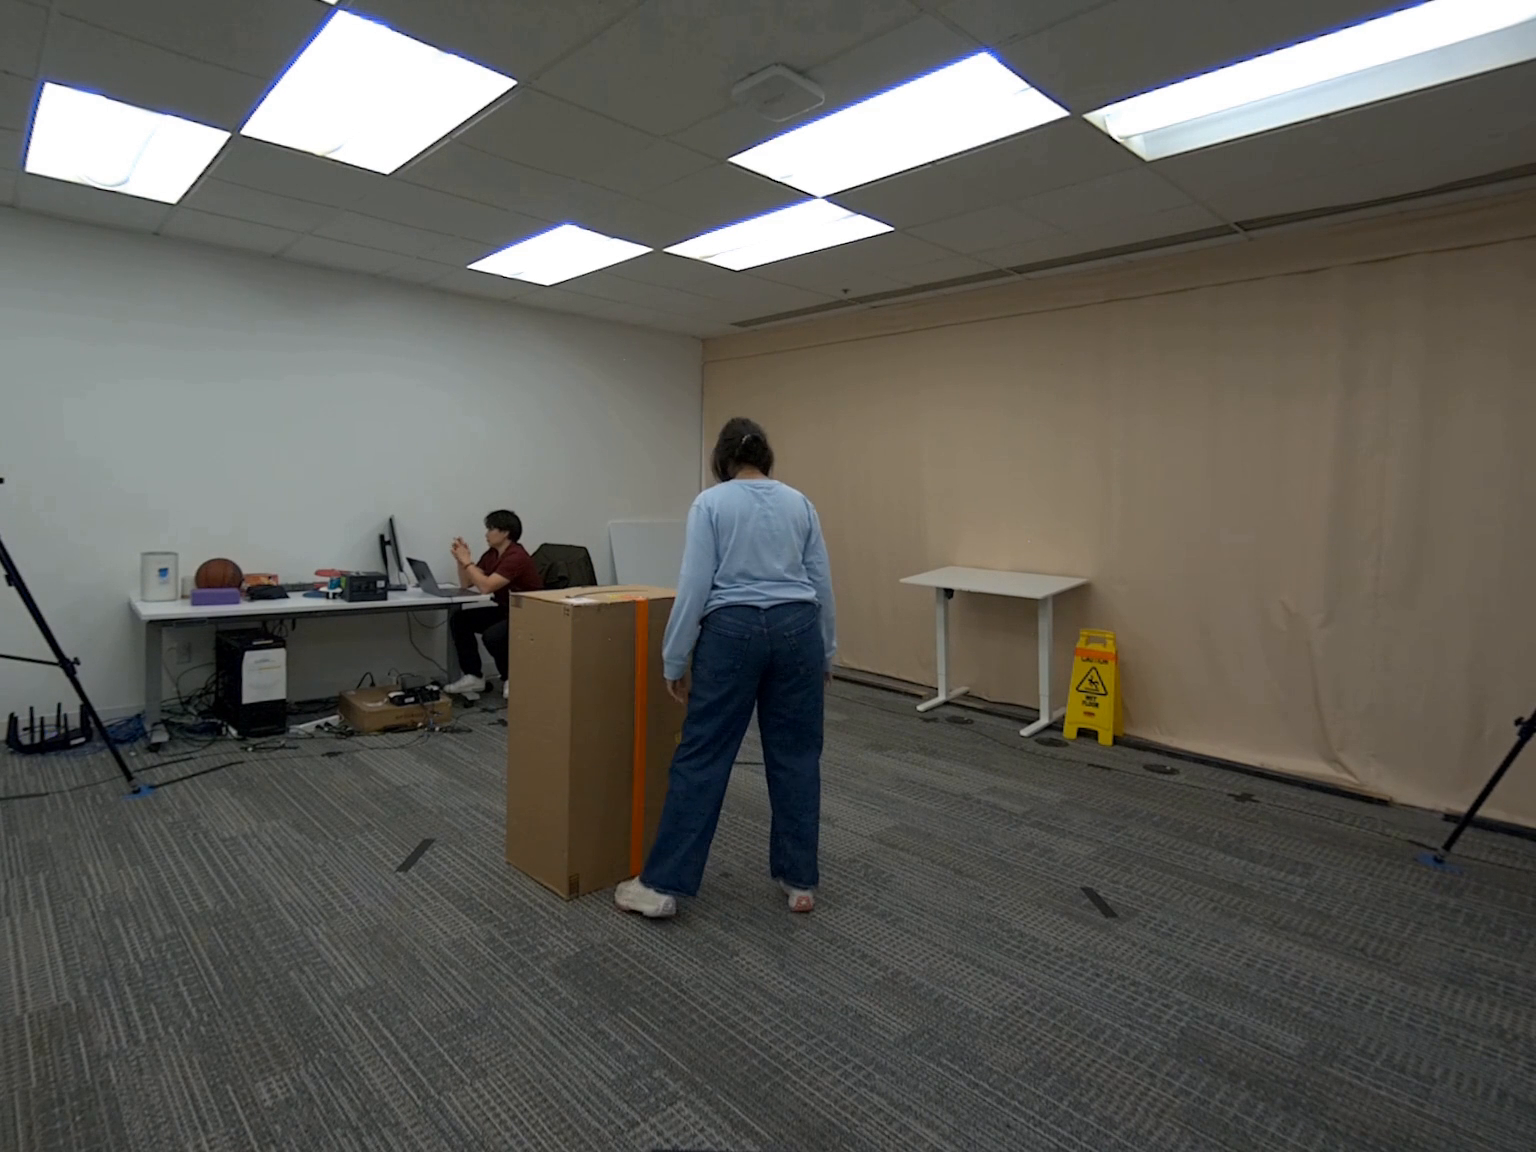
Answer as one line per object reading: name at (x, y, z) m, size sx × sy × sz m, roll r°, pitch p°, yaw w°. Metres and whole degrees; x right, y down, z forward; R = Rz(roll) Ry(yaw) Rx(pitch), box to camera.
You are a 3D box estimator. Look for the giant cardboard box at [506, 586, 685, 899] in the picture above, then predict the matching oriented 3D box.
giant cardboard box at (-0.638, 0.575, 3.203) m, size 0.570 × 1.024 × 0.458 m, roll -2°, pitch 6°, yaw -44°
